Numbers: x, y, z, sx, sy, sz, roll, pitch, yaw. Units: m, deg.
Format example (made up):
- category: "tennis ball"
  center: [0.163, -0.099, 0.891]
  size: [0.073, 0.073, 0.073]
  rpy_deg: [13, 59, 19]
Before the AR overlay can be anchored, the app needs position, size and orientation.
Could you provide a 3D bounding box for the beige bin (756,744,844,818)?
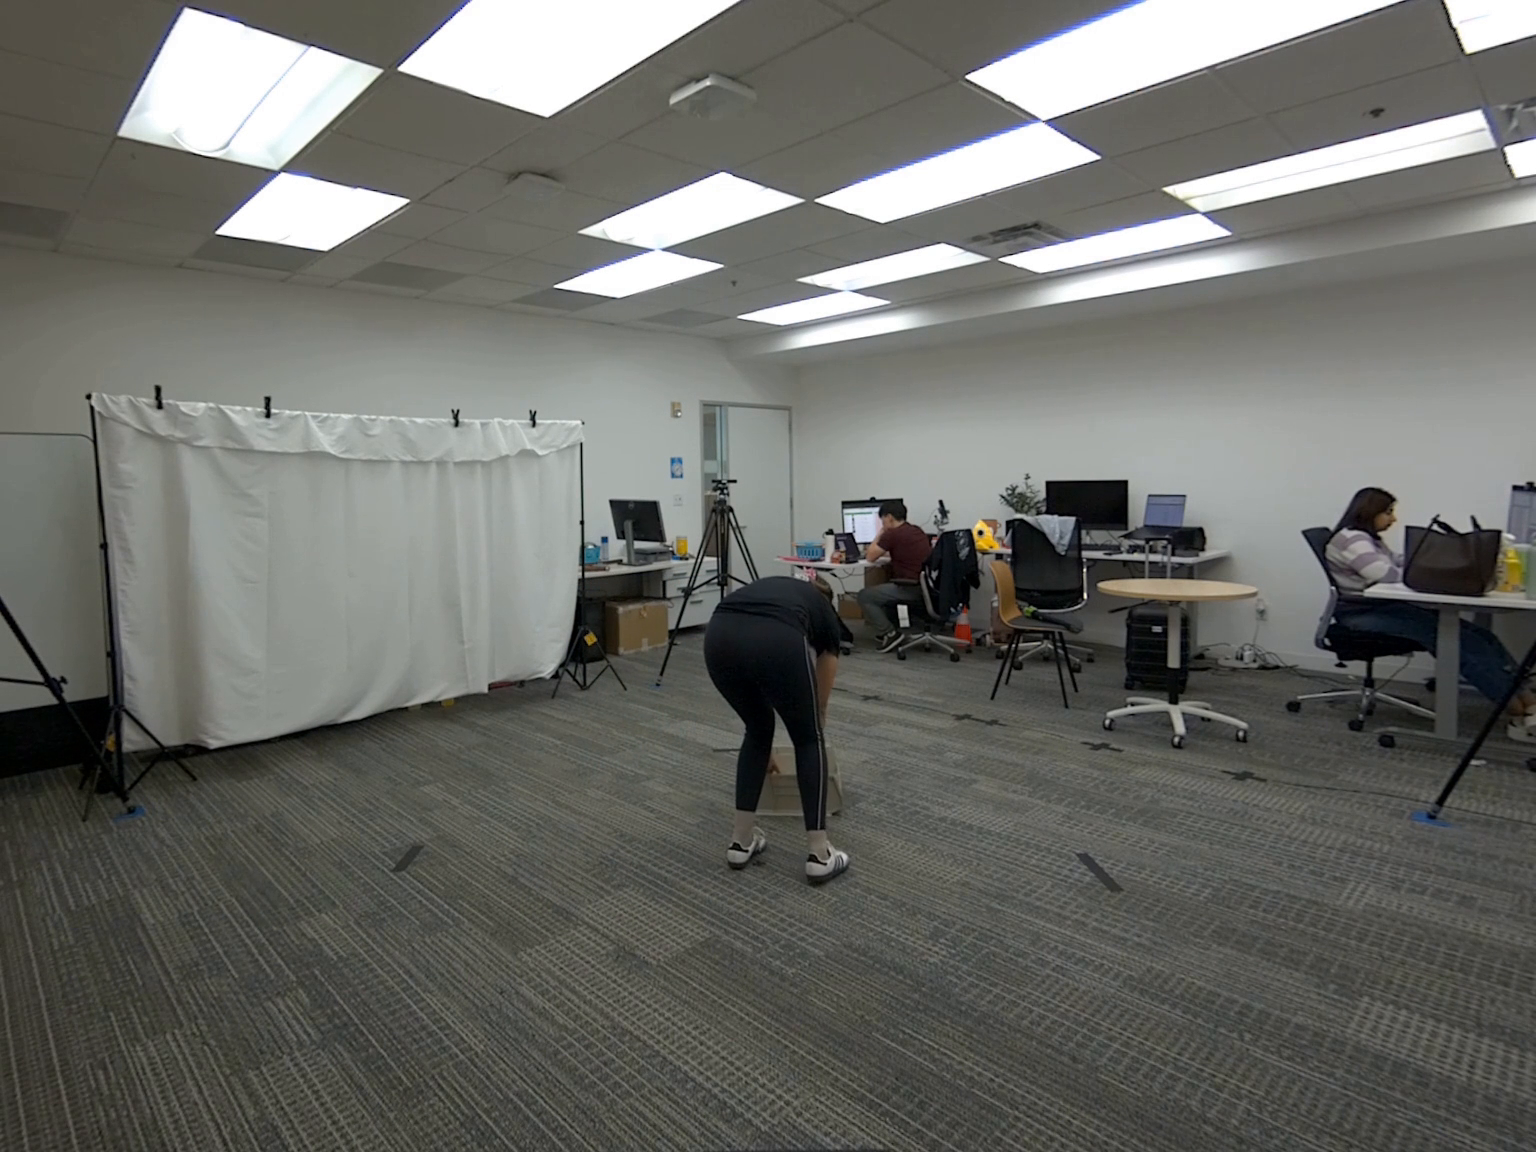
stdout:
- category: "beige bin"
  center: [0.130, 0.884, 3.746]
  size: [0.379, 0.188, 0.423]
  rpy_deg: [-1, 6, 3]
